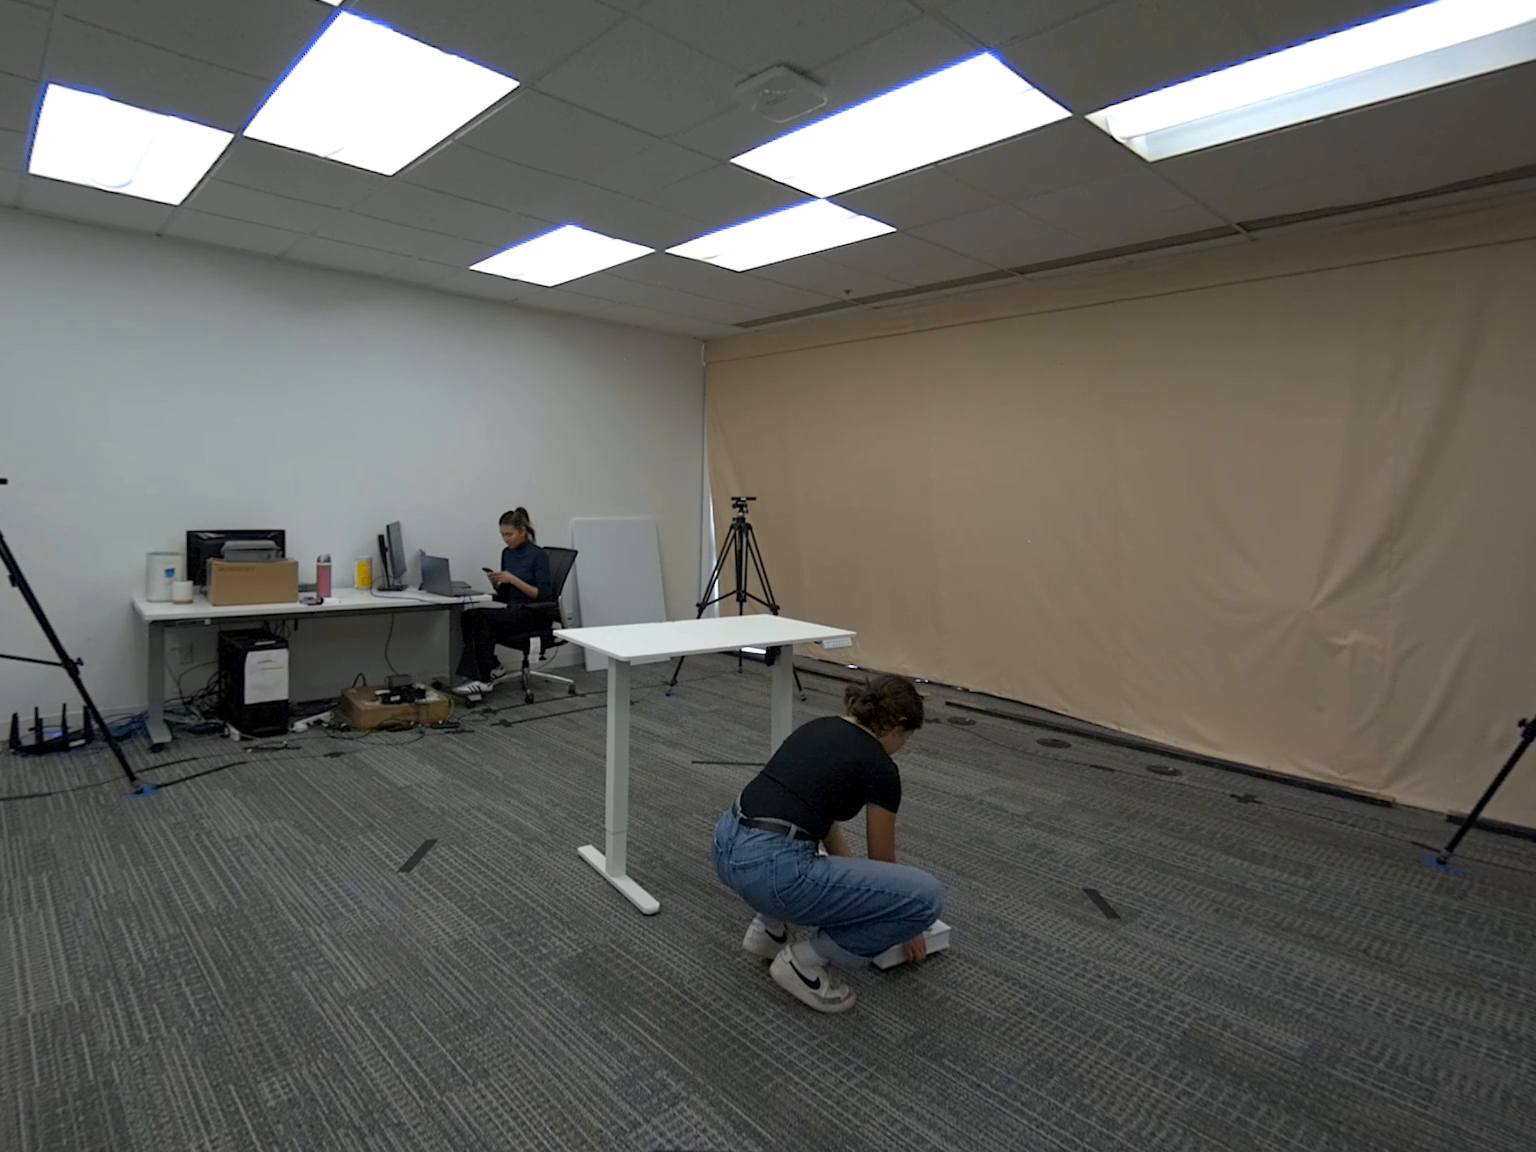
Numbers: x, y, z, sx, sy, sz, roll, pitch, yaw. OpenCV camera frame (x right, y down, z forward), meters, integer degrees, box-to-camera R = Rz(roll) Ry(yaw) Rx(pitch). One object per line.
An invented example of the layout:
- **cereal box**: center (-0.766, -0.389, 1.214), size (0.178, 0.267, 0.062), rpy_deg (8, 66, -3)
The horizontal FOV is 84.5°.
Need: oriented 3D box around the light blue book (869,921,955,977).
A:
- **light blue book**: center (0.404, 1.112, 2.595), size (0.256, 0.059, 0.196), rpy_deg (-4, 7, -30)
